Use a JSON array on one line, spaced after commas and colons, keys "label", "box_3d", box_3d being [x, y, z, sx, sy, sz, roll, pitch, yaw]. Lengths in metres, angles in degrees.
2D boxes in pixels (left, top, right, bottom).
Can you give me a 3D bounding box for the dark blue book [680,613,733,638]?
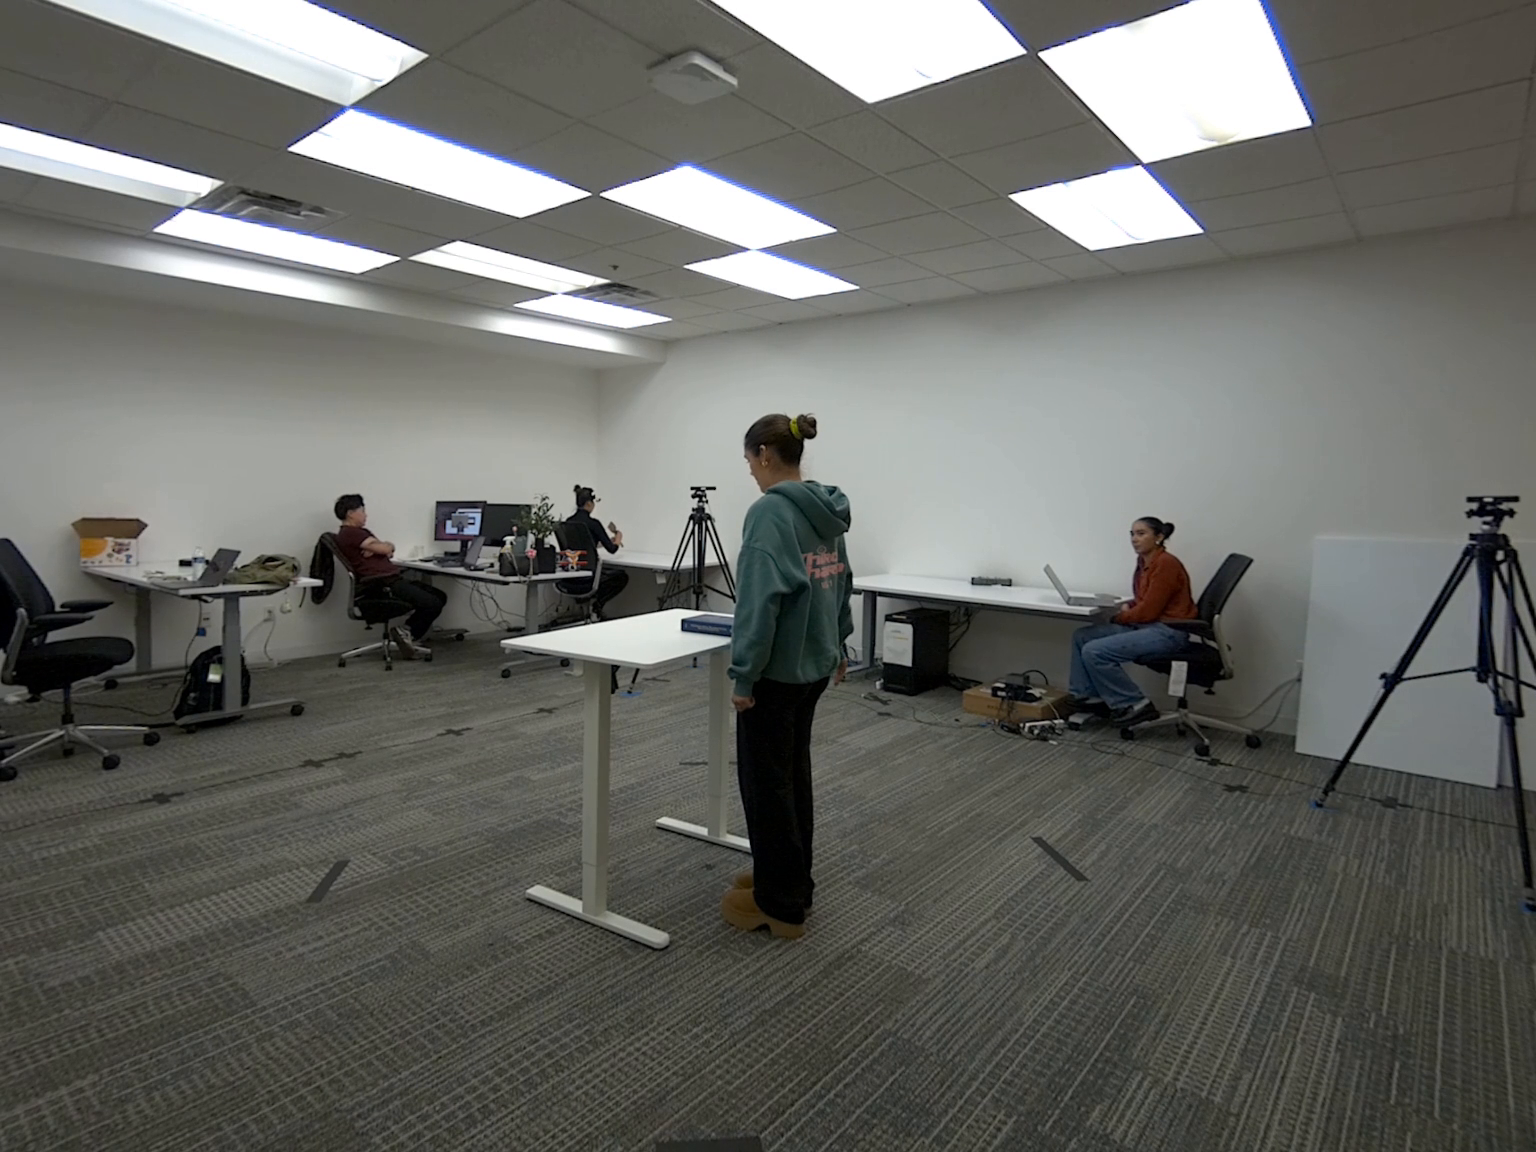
[{"label": "dark blue book", "box_3d": [-0.176, 0.174, 3.008, 0.252, 0.045, 0.159, 4, 6, 28]}]
